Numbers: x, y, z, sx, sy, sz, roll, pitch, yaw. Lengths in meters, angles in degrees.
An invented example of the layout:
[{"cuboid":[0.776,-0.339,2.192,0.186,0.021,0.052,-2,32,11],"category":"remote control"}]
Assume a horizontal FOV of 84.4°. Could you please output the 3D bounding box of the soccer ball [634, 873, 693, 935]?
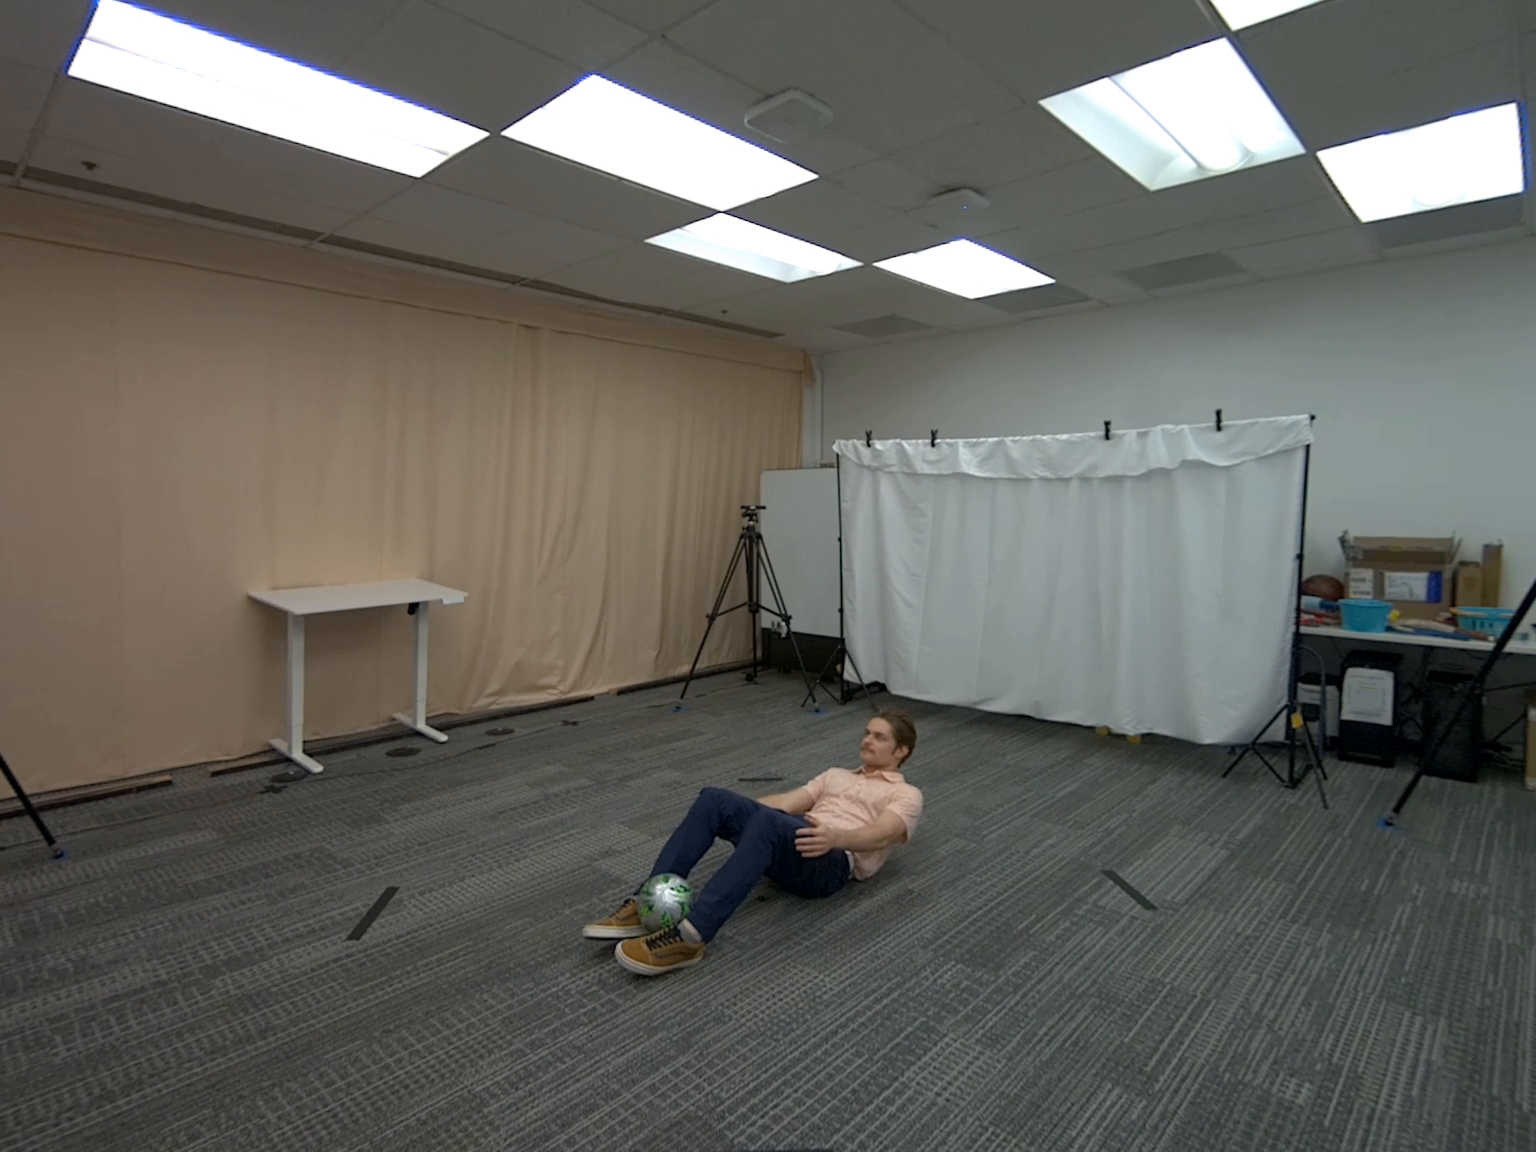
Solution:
[{"cuboid":[-0.315,1.031,2.653,0.187,0.187,0.188,0,4,-2],"category":"soccer ball"}]
